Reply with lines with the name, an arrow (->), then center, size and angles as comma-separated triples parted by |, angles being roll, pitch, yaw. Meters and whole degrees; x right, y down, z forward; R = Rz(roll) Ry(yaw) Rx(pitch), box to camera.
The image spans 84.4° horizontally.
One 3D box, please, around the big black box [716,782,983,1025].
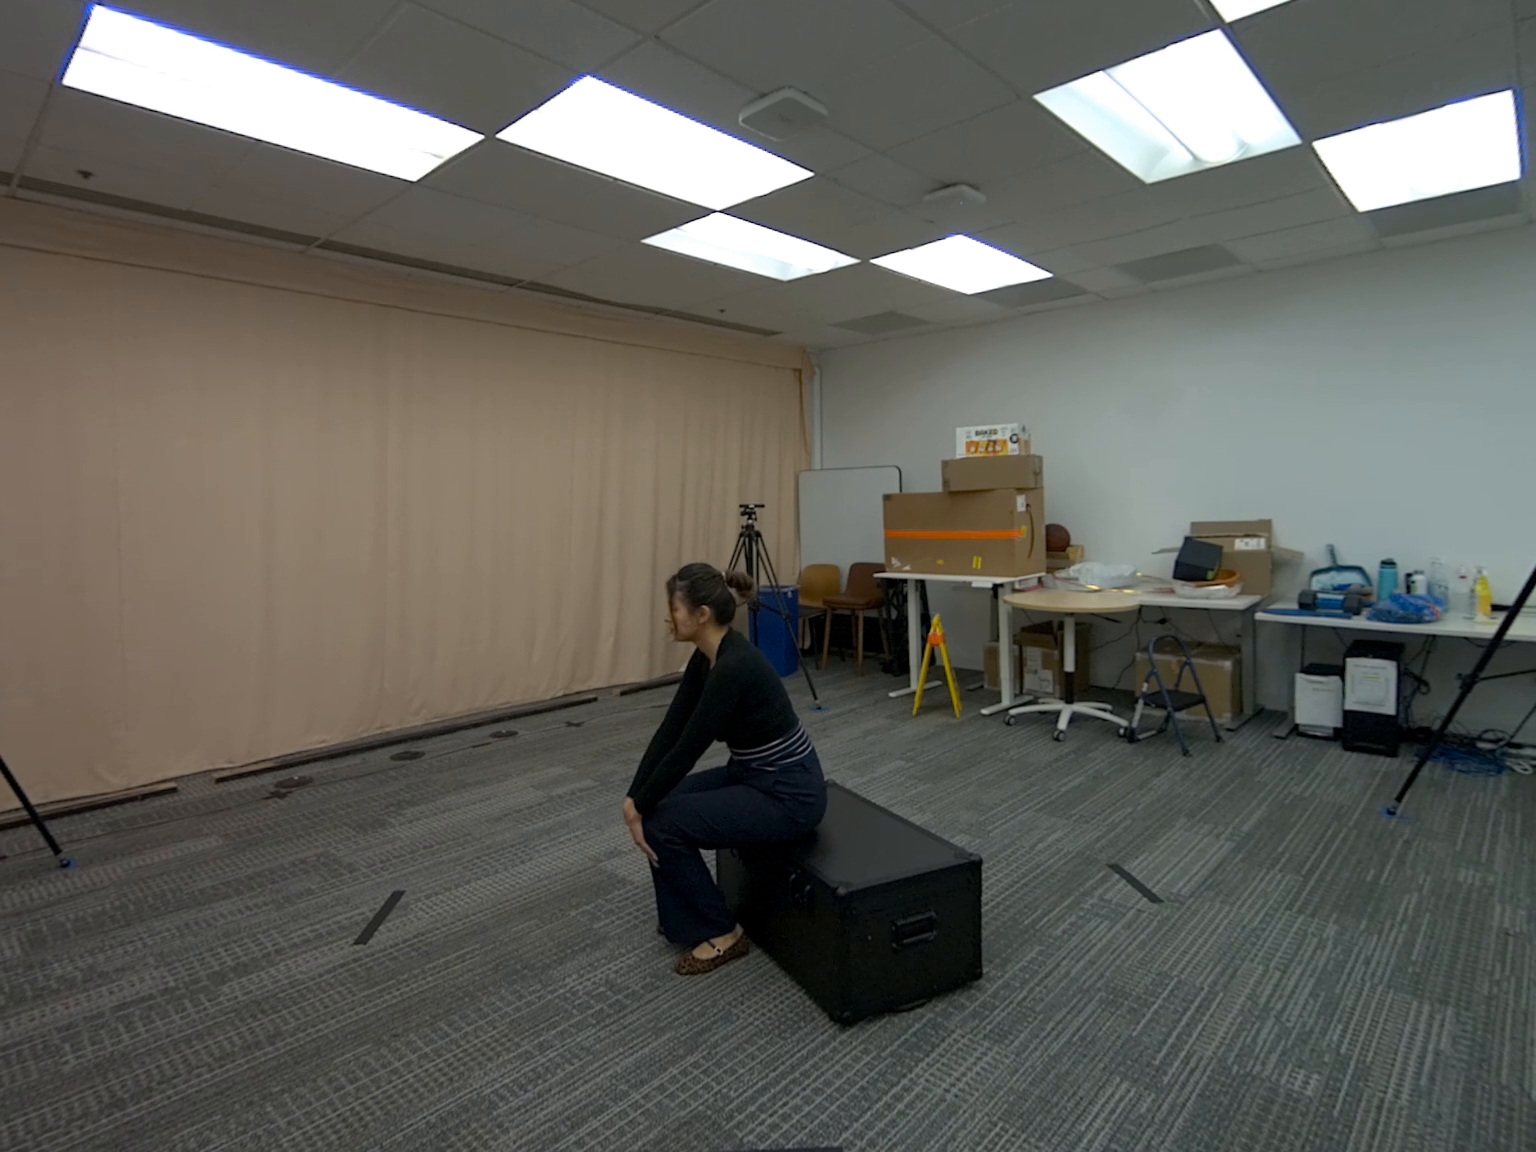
big black box -> 0.235, 0.977, 2.623 | 0.508, 0.395, 0.885 | -3, 5, -28
